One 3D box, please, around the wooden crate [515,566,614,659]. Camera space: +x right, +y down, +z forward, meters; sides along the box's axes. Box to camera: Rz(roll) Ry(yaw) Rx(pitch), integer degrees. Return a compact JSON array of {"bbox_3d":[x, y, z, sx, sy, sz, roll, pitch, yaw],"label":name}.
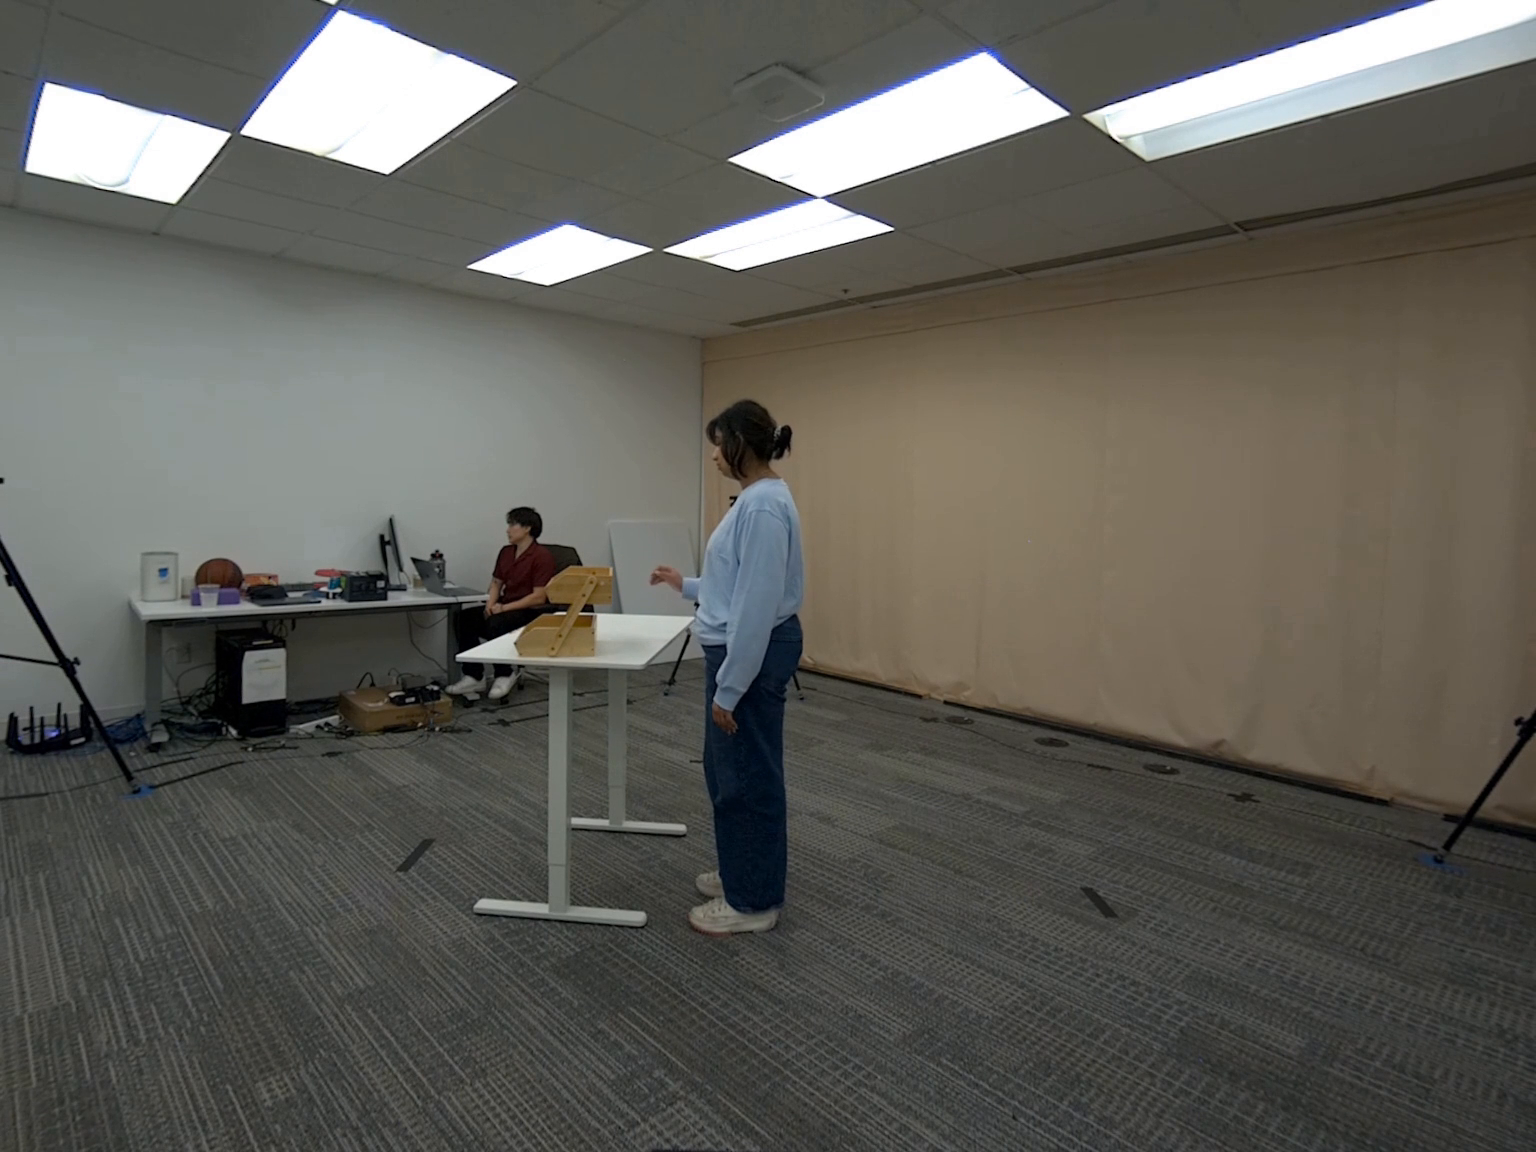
[{"bbox_3d":[-0.670,0.110,2.783,0.300,0.272,0.328,1,4,-10],"label":"wooden crate"}]
